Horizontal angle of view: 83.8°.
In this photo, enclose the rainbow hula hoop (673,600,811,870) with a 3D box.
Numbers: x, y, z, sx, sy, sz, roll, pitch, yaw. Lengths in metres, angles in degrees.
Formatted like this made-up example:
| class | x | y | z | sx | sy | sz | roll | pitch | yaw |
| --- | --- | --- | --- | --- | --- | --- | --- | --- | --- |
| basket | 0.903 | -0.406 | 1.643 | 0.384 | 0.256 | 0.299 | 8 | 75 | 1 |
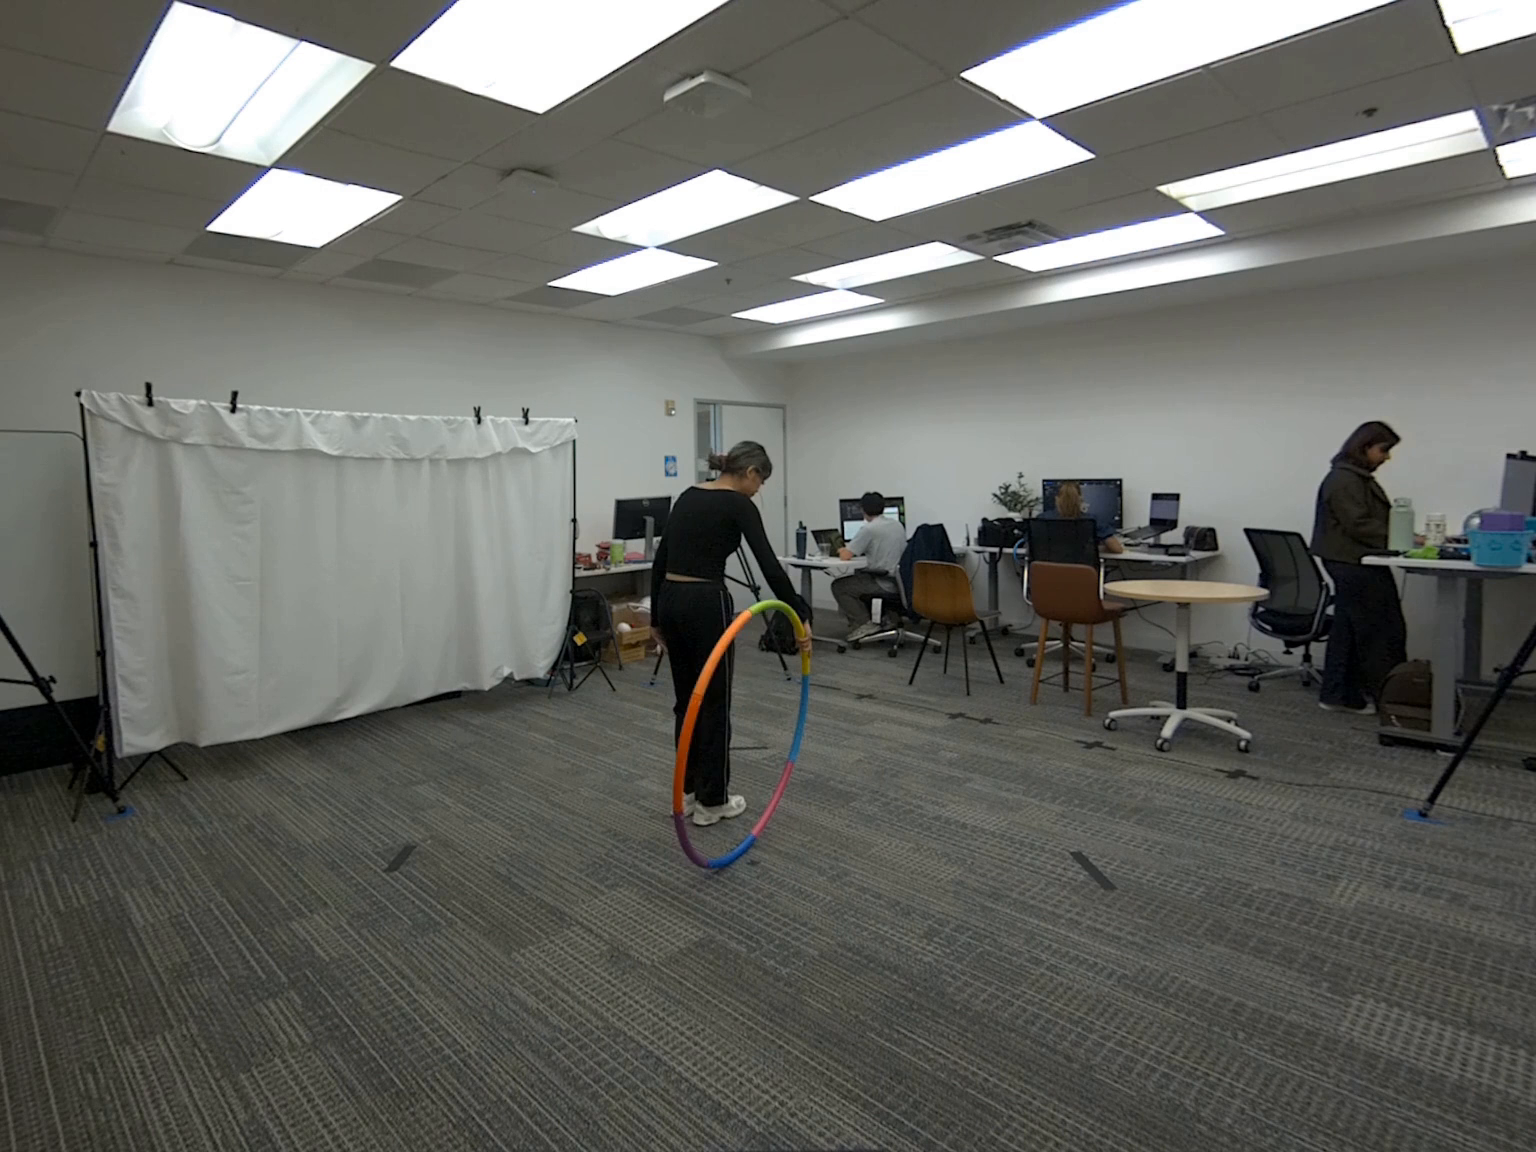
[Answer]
| class | x | y | z | sx | sy | sz | roll | pitch | yaw |
| --- | --- | --- | --- | --- | --- | --- | --- | --- | --- |
| rainbow hula hoop | -0.073 | 0.567 | 3.086 | 0.036 | 0.972 | 0.959 | 10 | 9 | 25 |
